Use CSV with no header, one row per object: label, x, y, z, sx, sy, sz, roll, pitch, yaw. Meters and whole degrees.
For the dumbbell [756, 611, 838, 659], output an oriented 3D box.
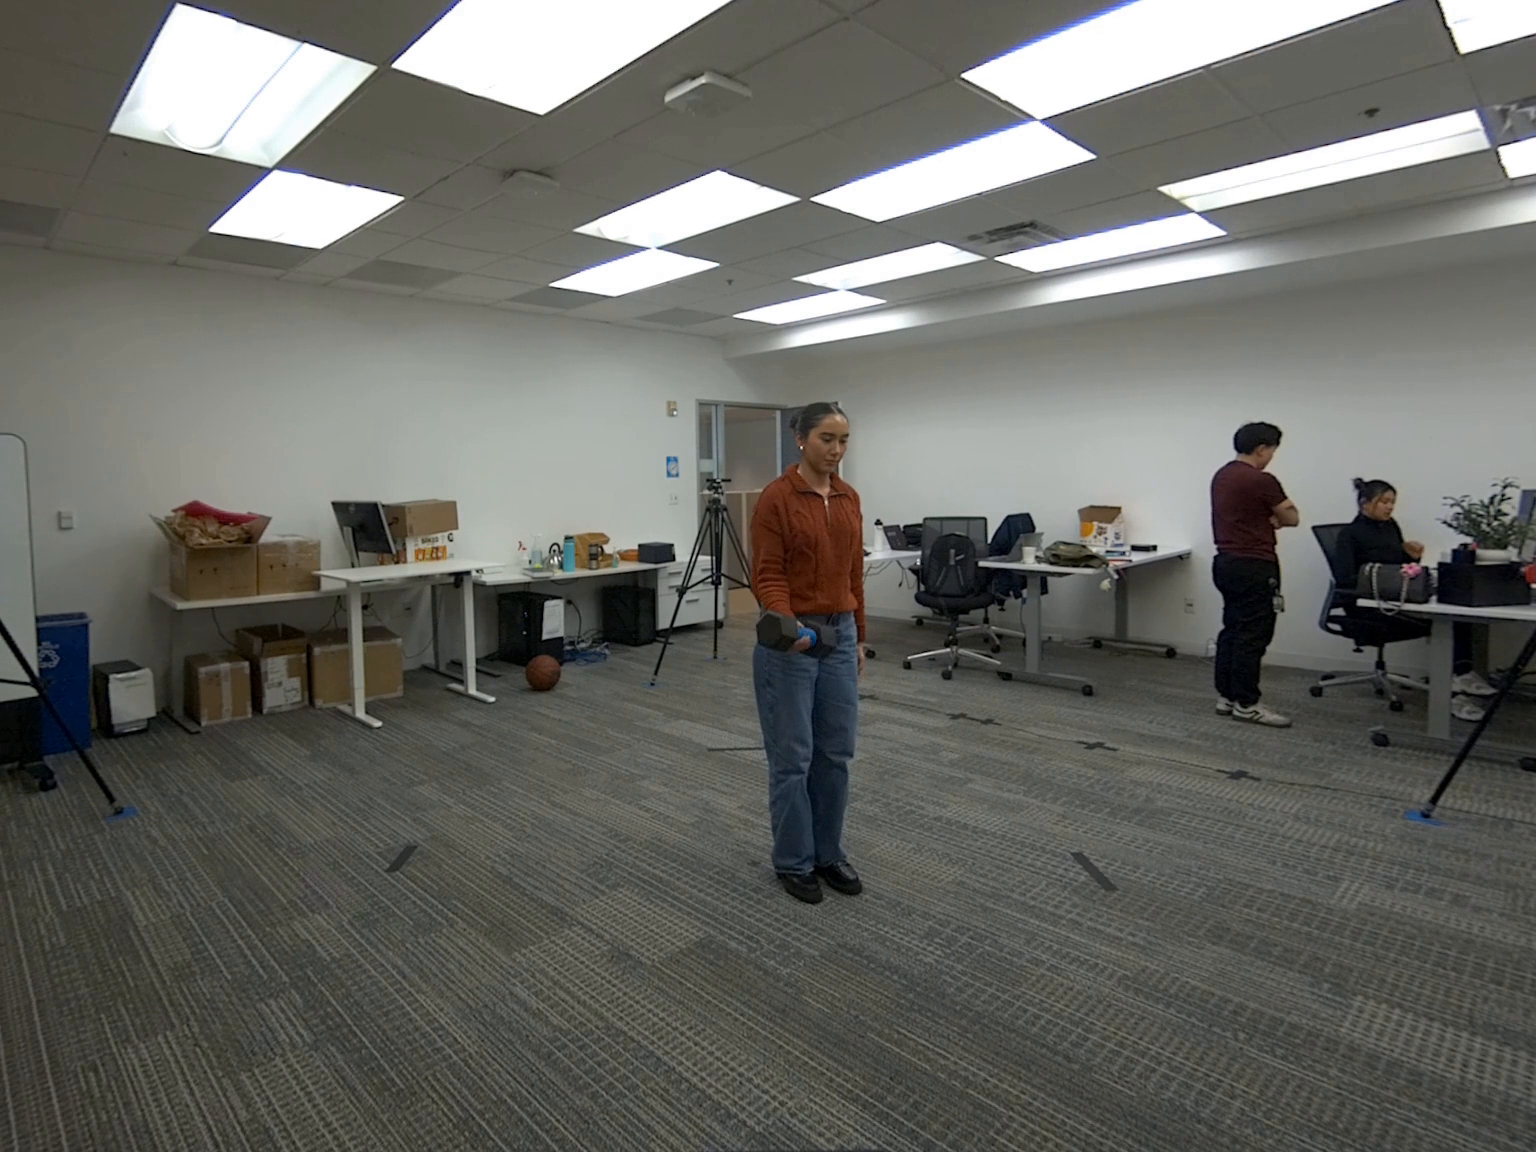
dumbbell,0.086,0.179,2.585,0.110,0.125,0.283,-18,-22,34
